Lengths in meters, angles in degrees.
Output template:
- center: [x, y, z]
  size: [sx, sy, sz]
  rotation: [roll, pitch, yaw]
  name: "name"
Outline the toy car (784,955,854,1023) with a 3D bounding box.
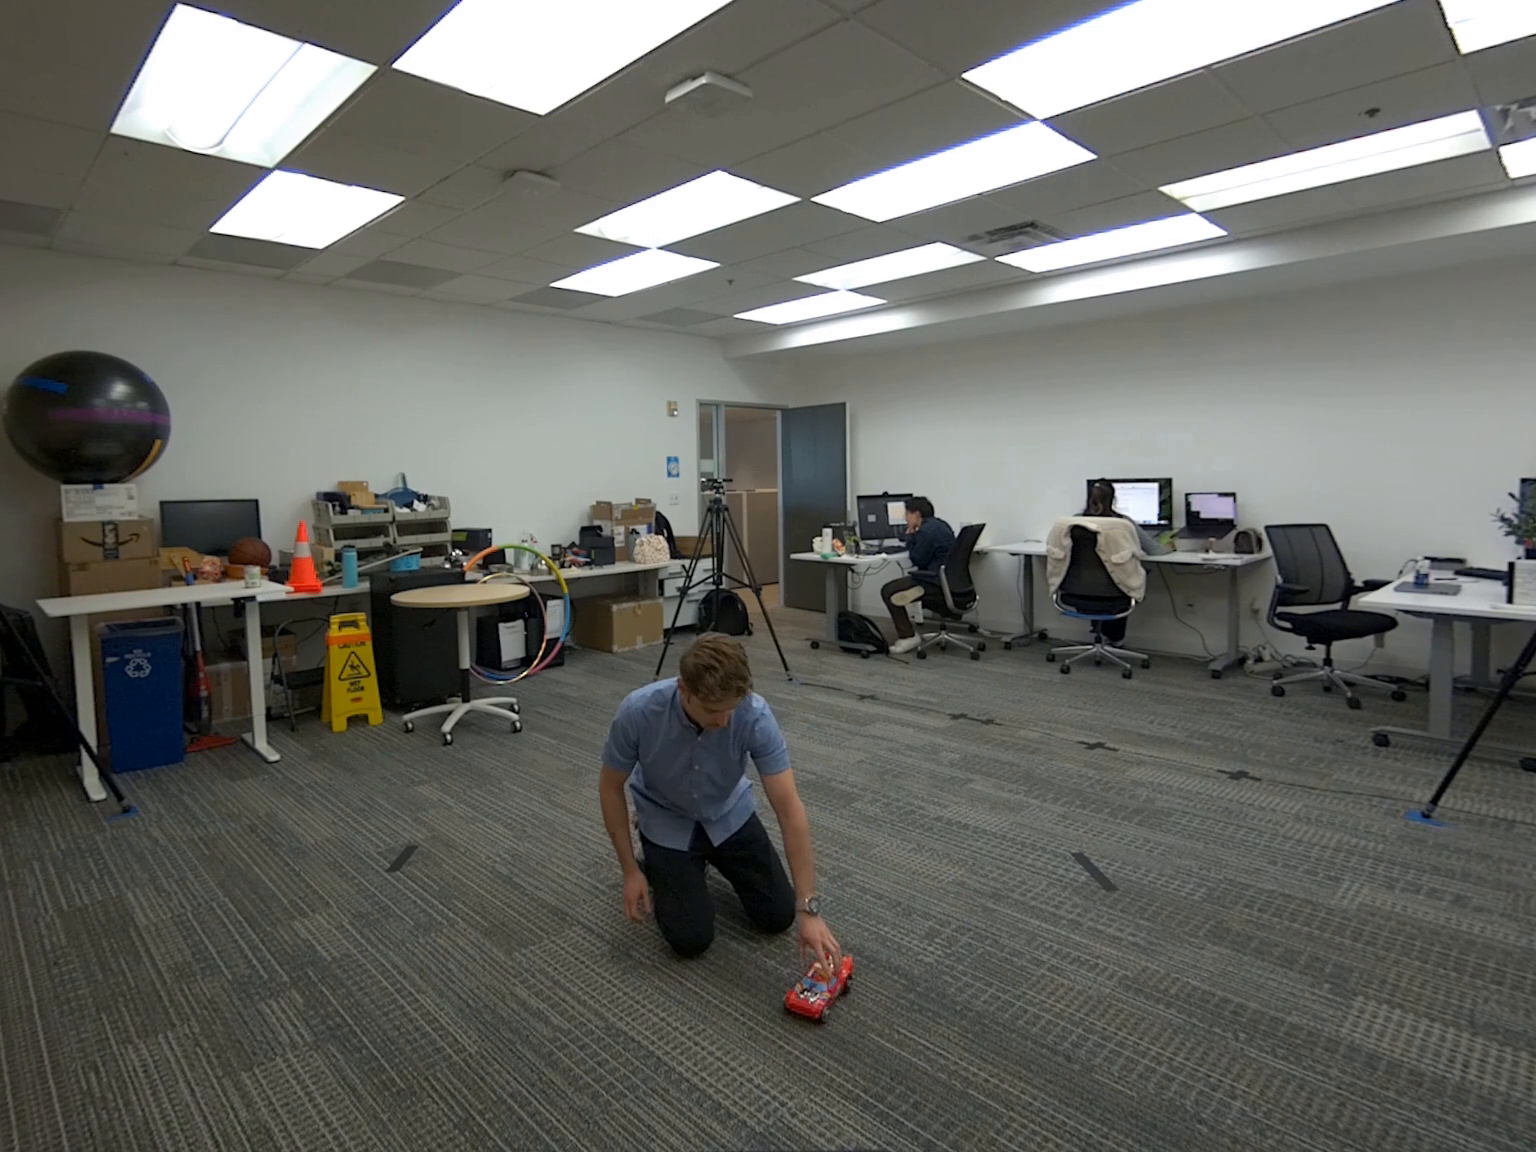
- center: [0.155, 1.102, 2.306]
  size: [0.134, 0.082, 0.251]
  rotation: [4, 19, 32]
  name: "toy car"
